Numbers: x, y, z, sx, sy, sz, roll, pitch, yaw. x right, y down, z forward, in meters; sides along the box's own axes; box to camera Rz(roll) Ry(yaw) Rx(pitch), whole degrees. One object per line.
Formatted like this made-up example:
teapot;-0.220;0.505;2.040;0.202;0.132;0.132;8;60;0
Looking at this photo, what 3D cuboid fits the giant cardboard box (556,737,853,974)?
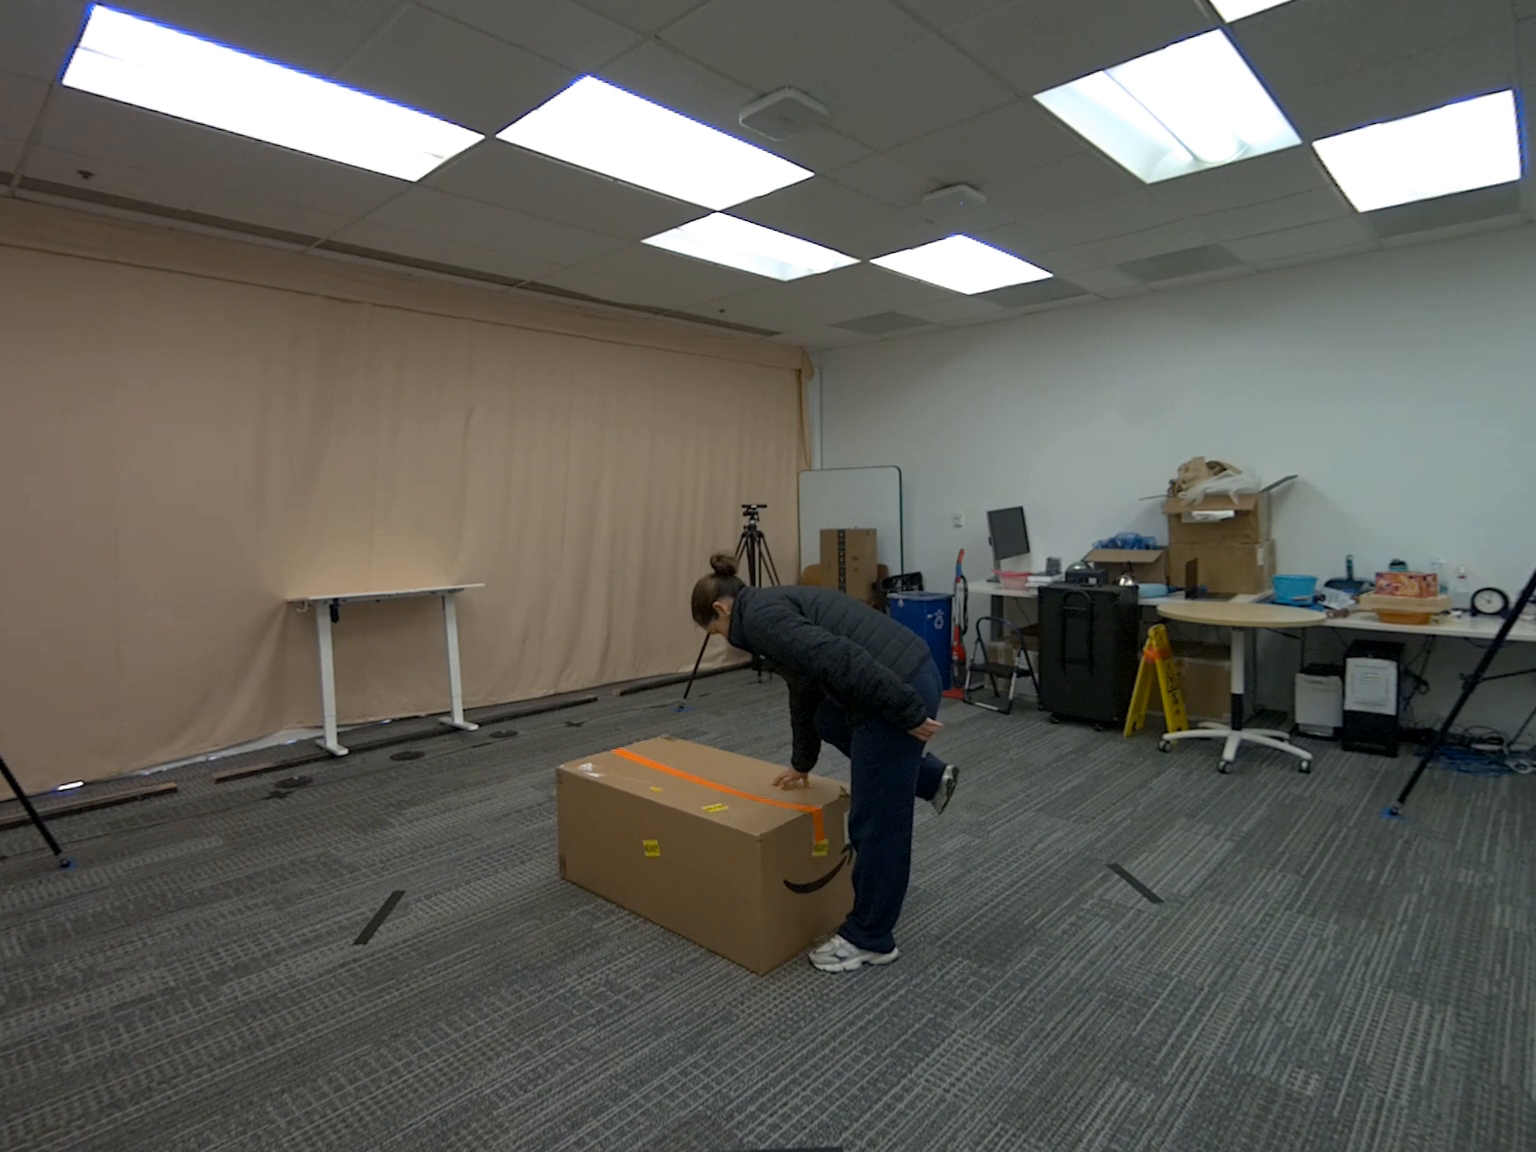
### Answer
giant cardboard box;-0.211;0.933;3.032;1.061;0.446;0.566;2;4;42
